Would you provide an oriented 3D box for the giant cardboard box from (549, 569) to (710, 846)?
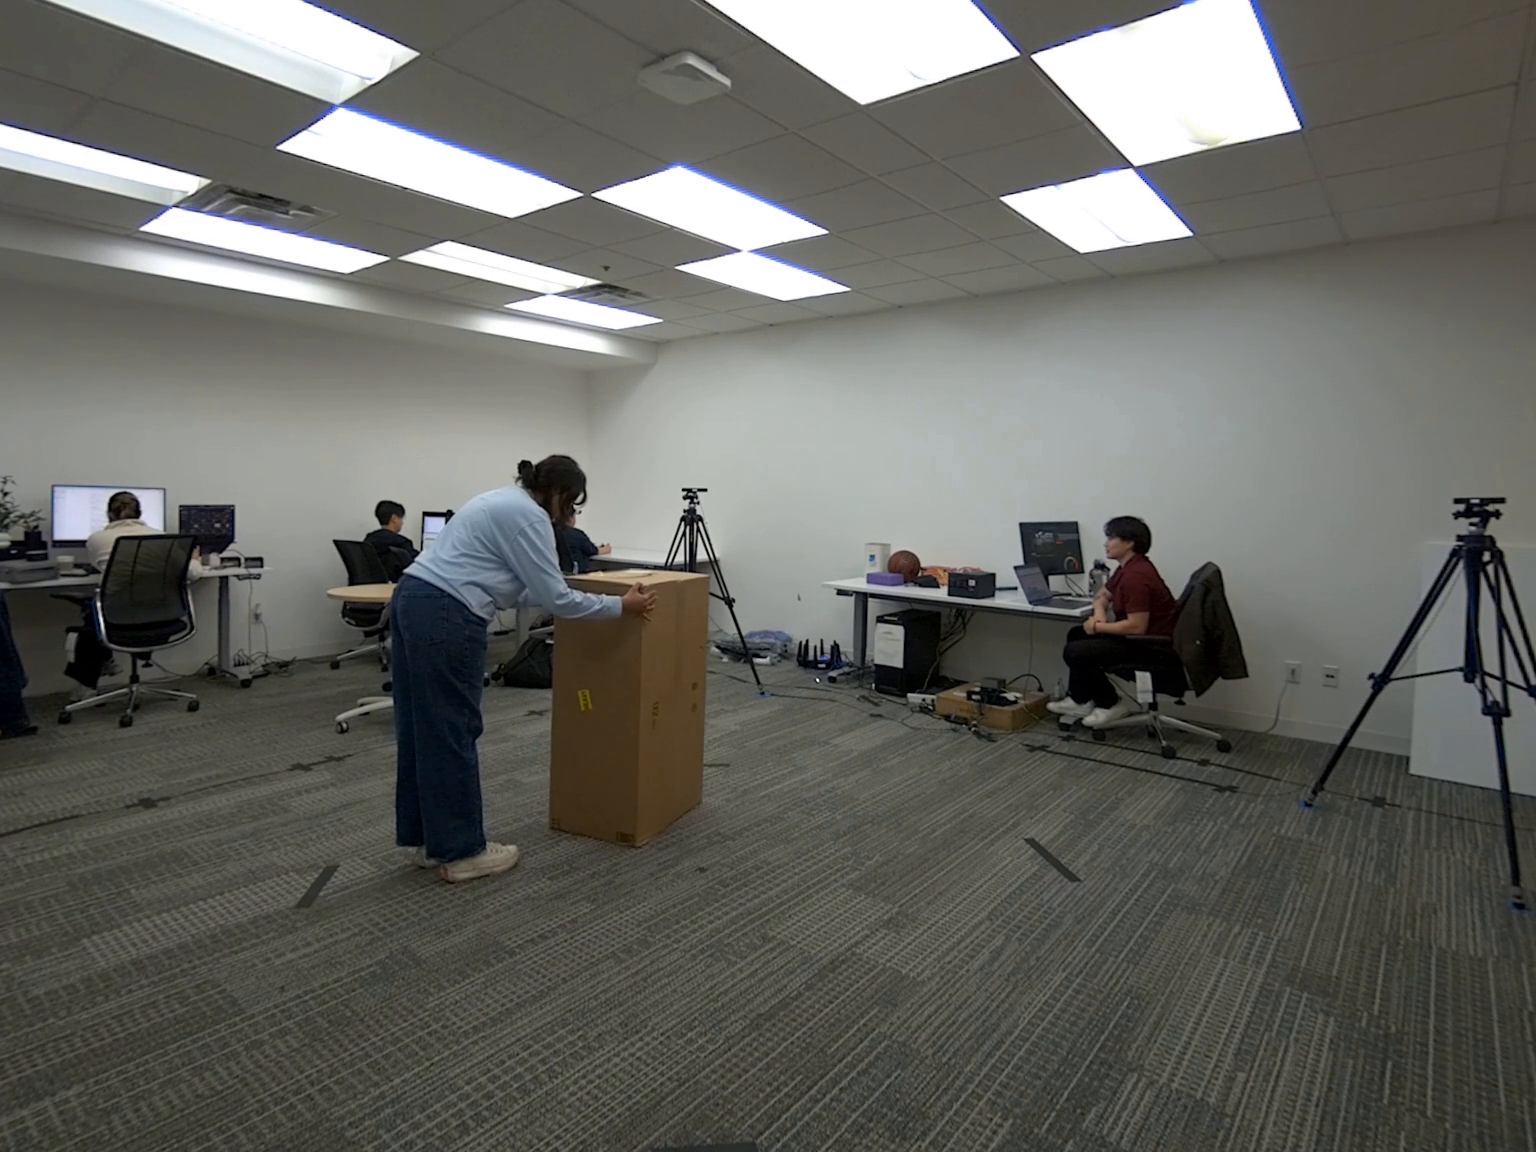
[{"bbox_3d":[-0.587,0.509,3.613,0.437,1.023,0.564,3,3,24],"label":"giant cardboard box"}]
